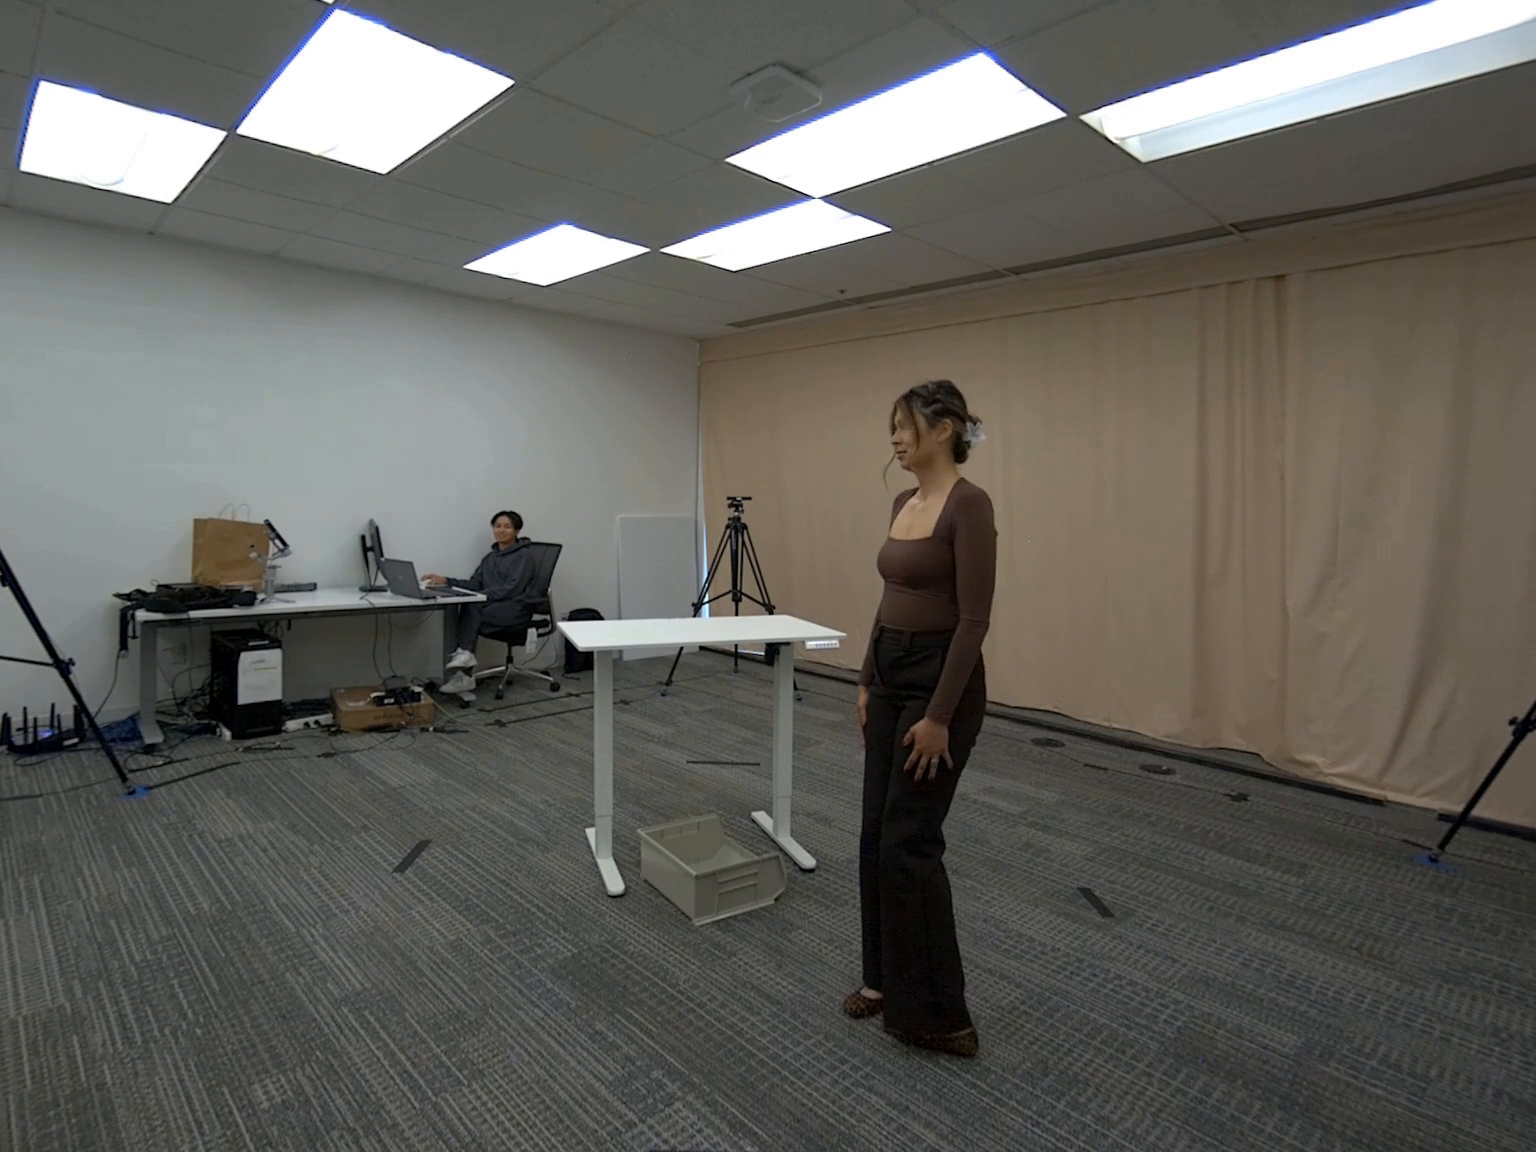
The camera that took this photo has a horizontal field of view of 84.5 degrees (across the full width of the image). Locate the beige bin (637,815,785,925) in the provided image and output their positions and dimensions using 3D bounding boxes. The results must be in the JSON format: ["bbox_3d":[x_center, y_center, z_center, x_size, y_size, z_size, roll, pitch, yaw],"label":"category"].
[{"bbox_3d":[-0.211,1.030,2.990,0.369,0.188,0.433,-3,7,-35],"label":"beige bin"}]
